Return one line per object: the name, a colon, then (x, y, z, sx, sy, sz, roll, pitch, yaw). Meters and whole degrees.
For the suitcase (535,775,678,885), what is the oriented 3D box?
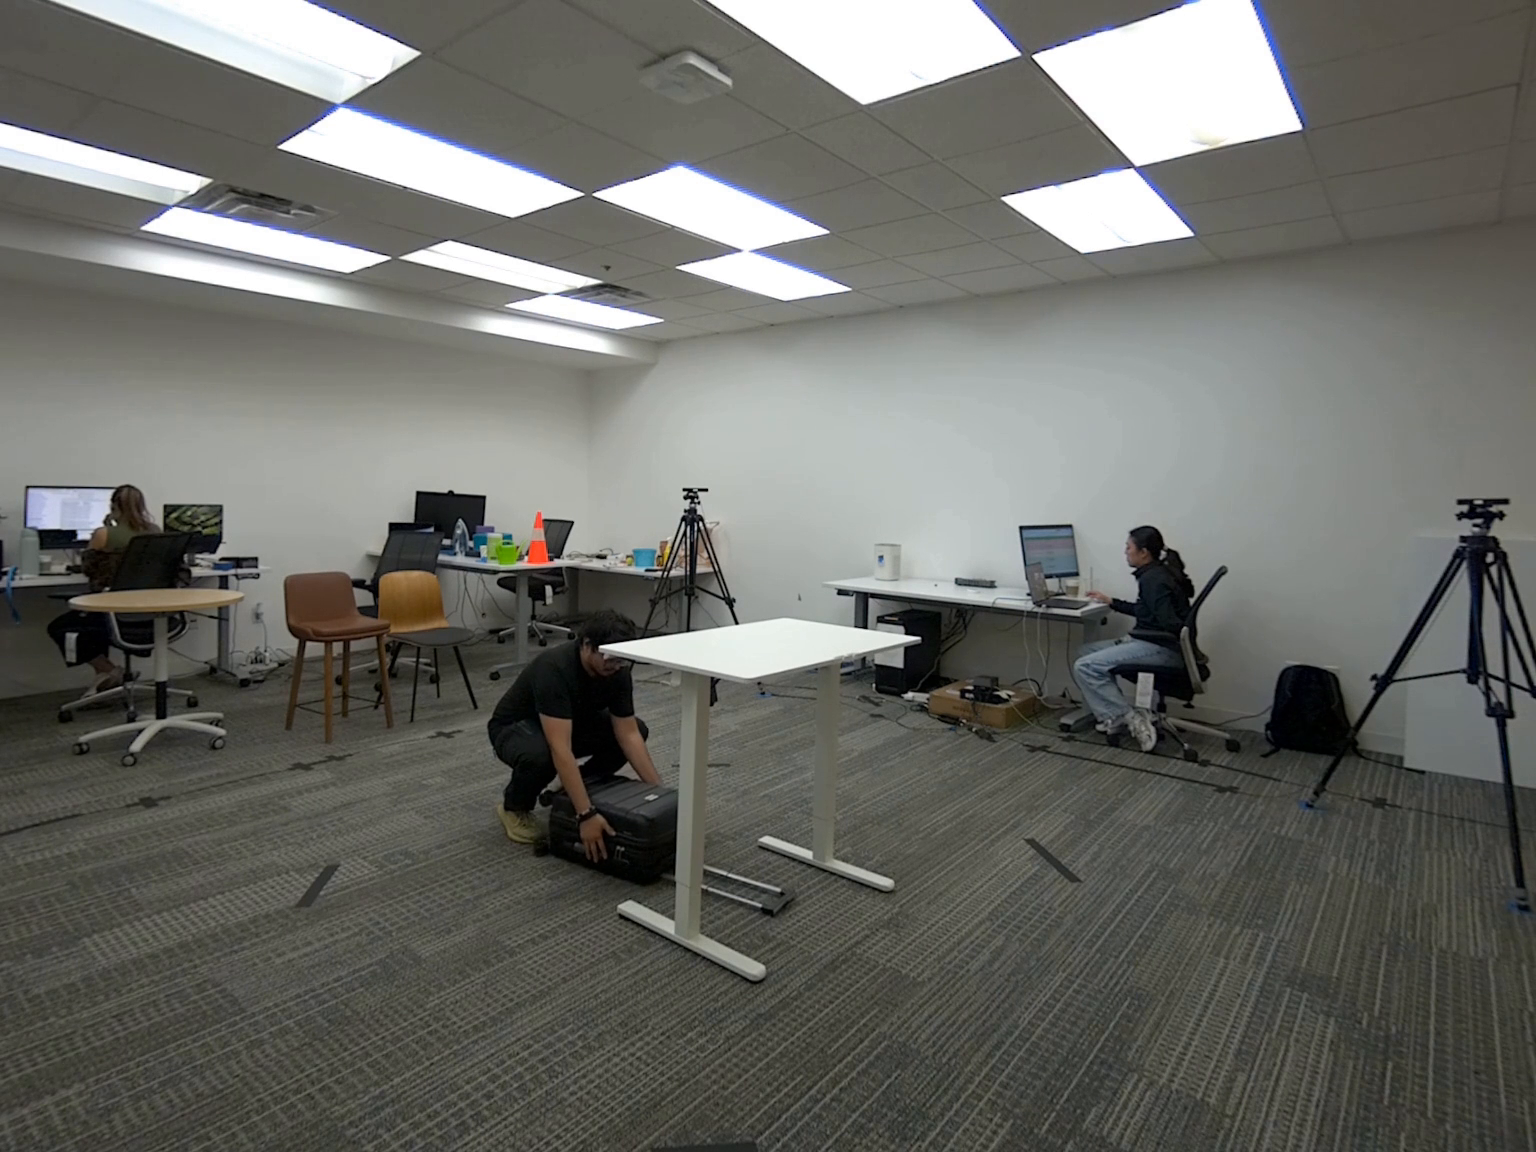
suitcase: (-0.383, 0.942, 3.084, 1.008, 0.257, 0.372, 3, 1, 32)
